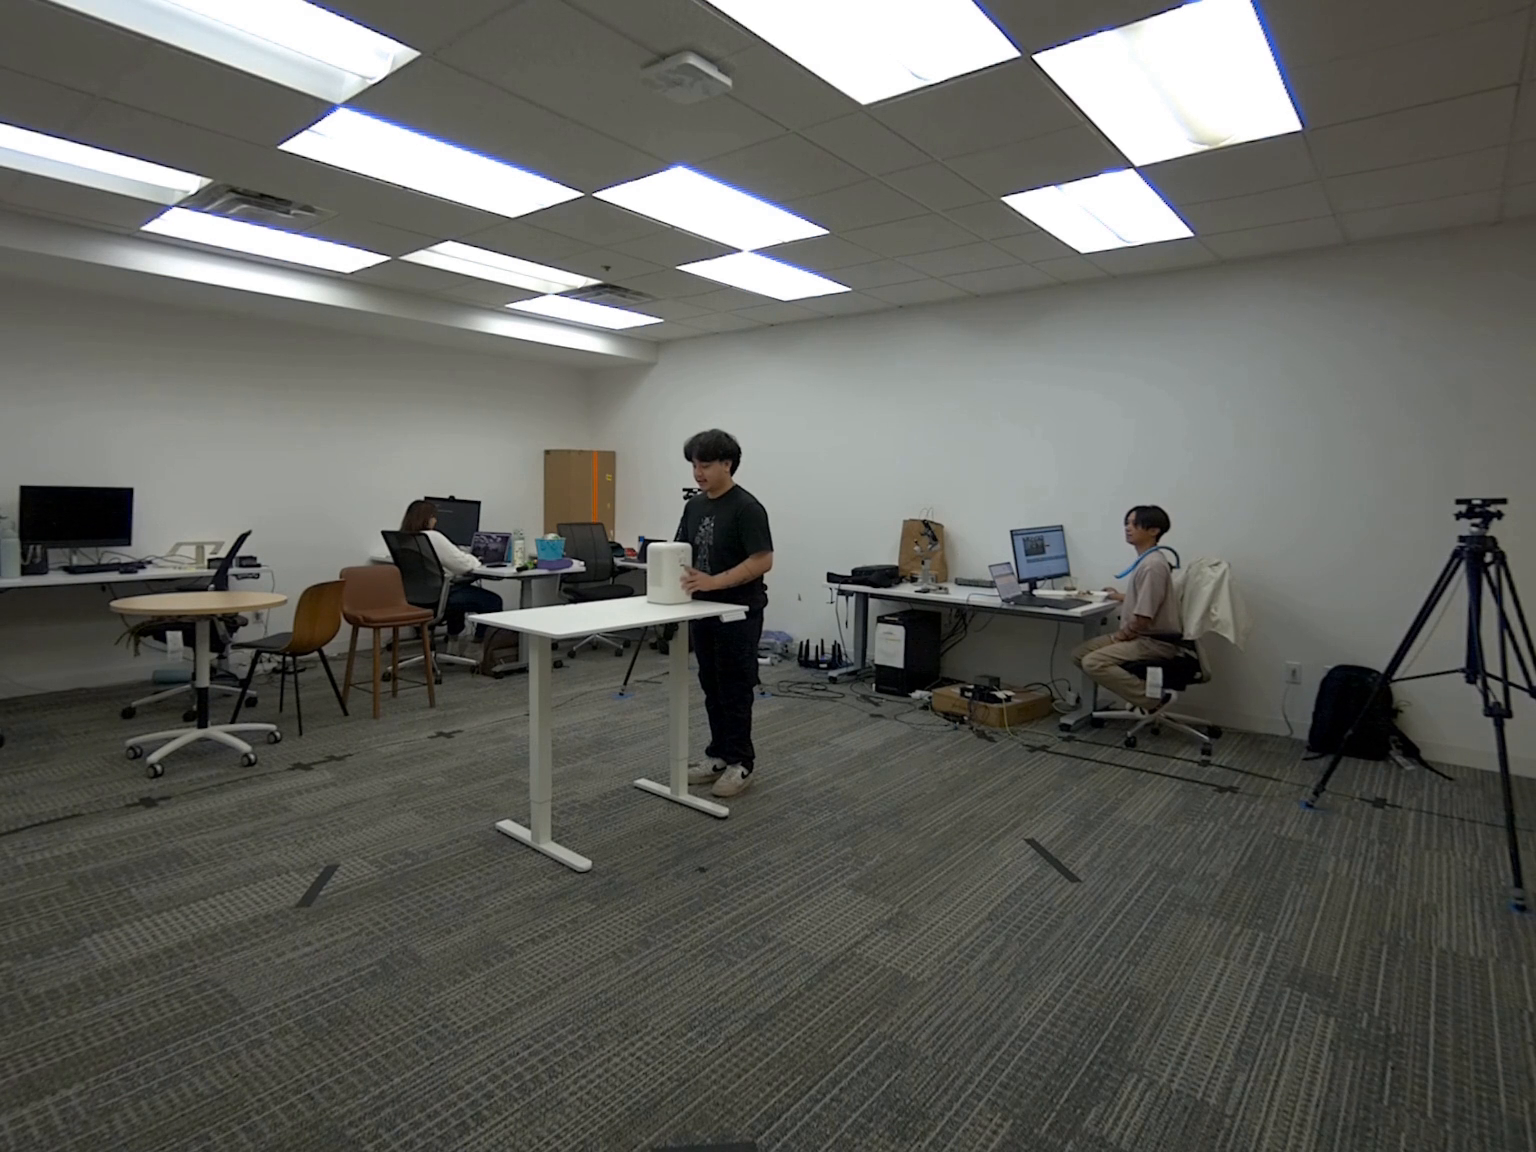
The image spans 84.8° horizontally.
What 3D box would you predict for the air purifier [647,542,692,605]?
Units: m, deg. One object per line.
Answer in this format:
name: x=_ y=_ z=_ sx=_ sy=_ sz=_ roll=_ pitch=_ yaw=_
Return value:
air purifier: x=-0.458 y=-0.021 z=3.788 sx=0.177 sy=0.264 sz=0.166 roll=3 pitch=5 yaw=41
